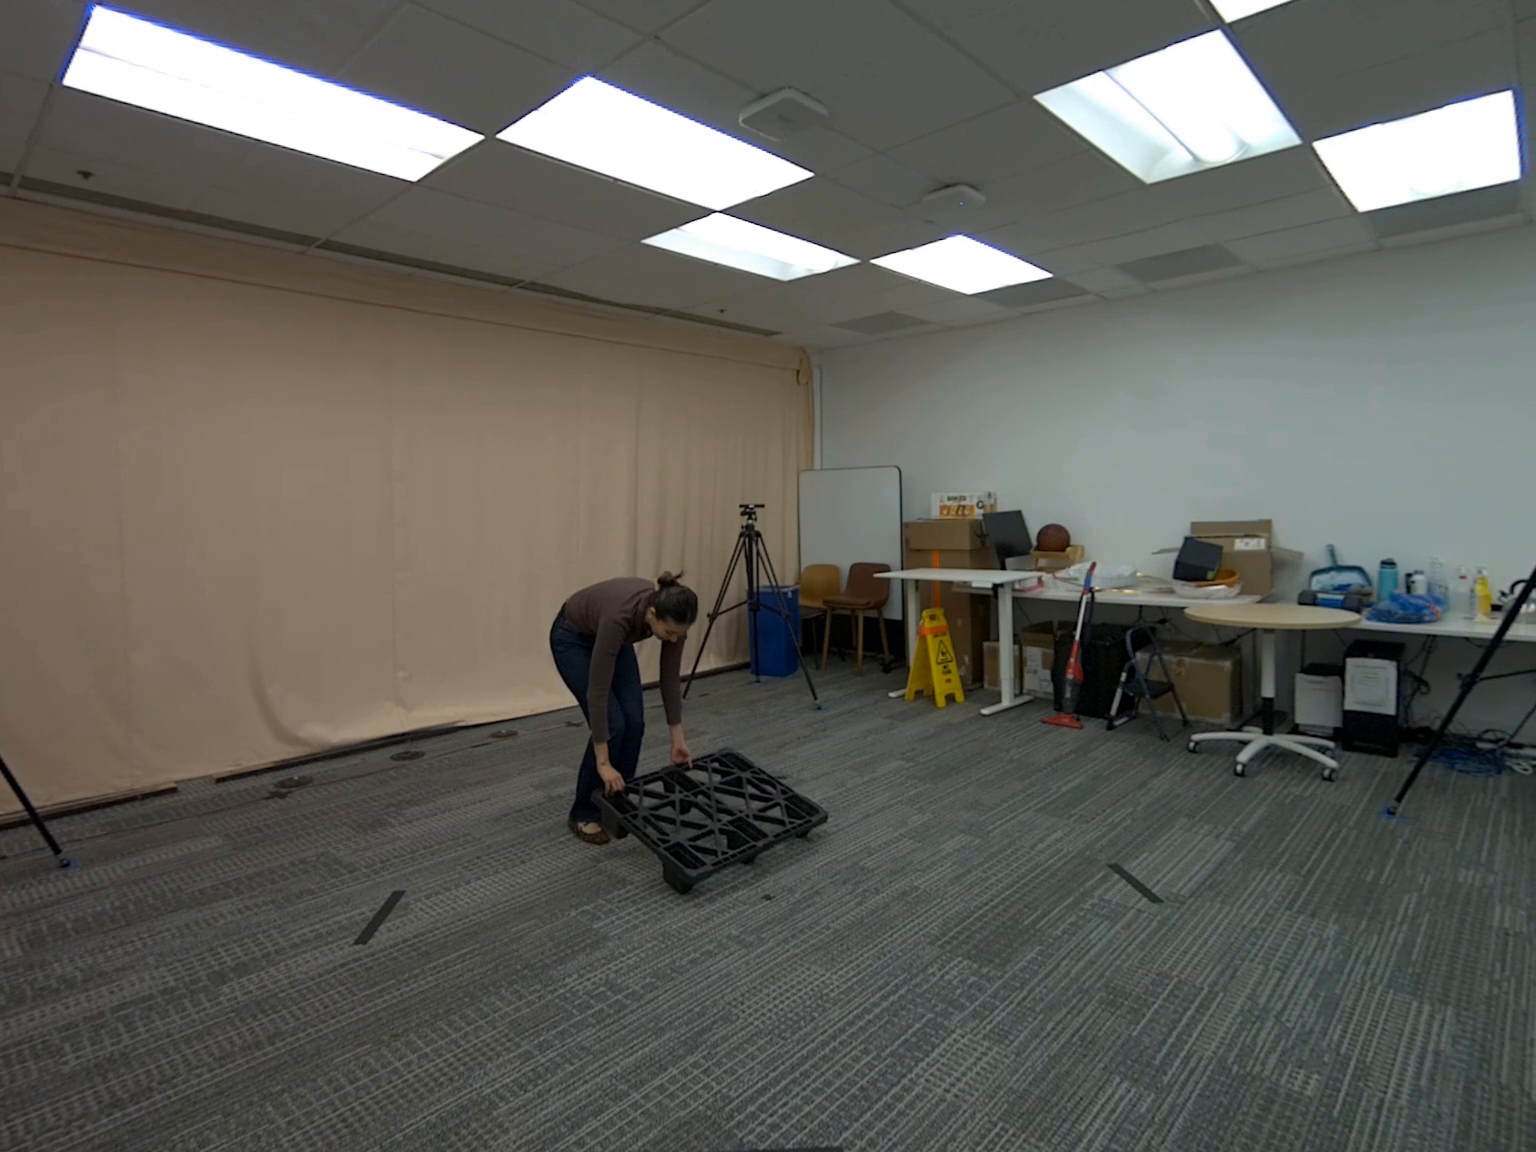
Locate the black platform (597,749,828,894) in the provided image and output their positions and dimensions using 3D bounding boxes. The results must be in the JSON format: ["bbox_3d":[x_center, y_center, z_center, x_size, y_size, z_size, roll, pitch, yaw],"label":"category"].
[{"bbox_3d":[-0.223,0.979,3.410,0.627,0.142,0.781,25,21,38],"label":"black platform"}]
